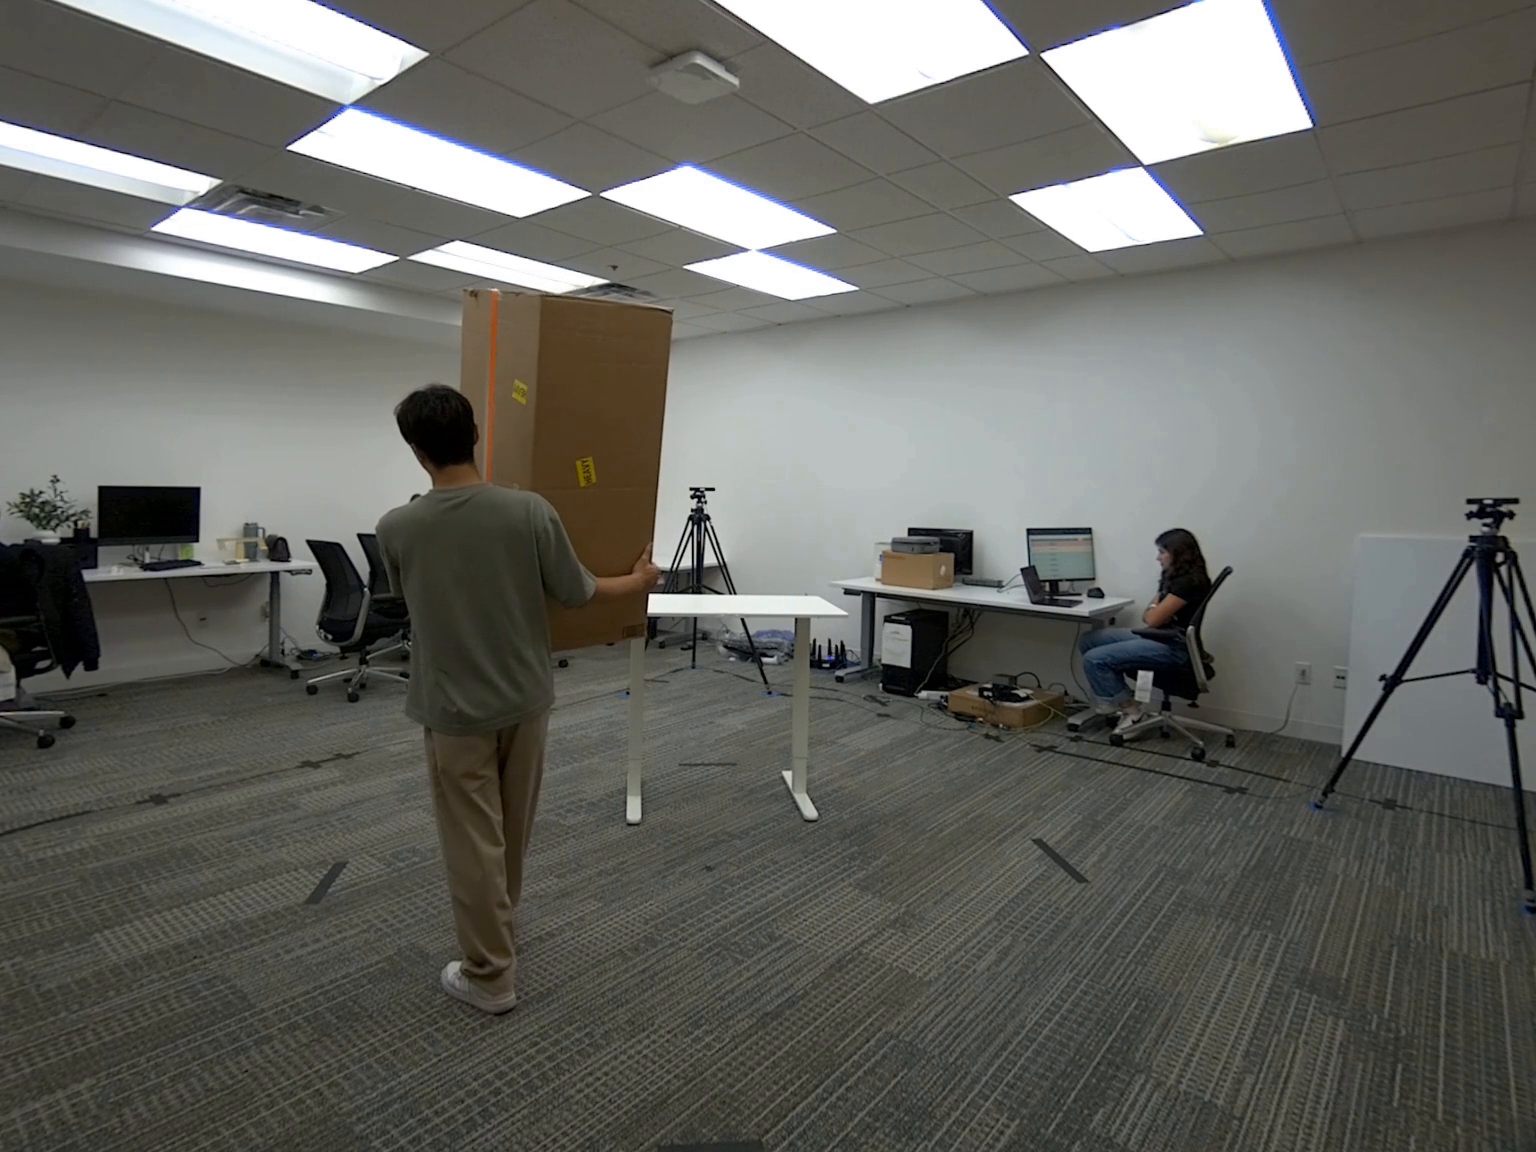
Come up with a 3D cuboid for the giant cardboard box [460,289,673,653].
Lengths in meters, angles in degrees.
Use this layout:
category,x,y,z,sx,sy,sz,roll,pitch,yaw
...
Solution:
category,x,y,z,sx,sy,sz,roll,pitch,yaw
giant cardboard box,-0.683,-0.353,2.677,0.414,1.014,0.601,-5,19,-39
